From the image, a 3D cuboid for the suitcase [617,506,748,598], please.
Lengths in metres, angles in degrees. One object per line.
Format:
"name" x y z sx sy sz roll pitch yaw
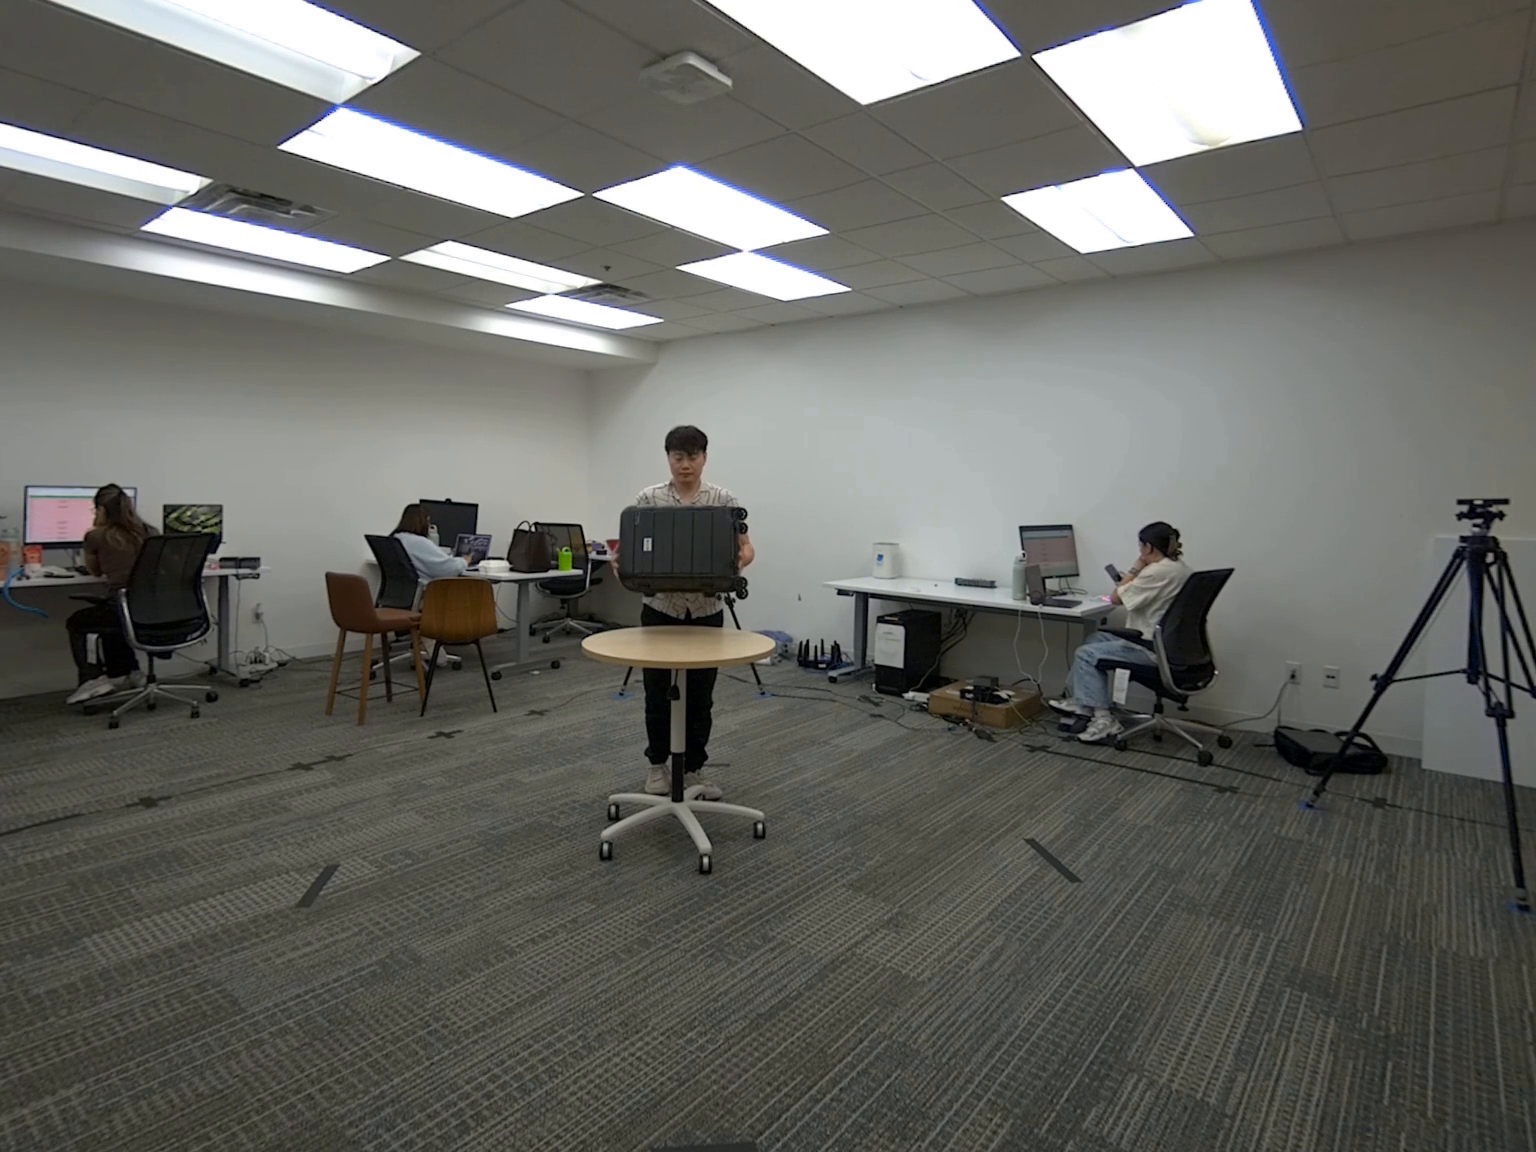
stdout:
"suitcase" -0.372 -0.122 3.596 0.551 0.380 0.244 2 -14 3
